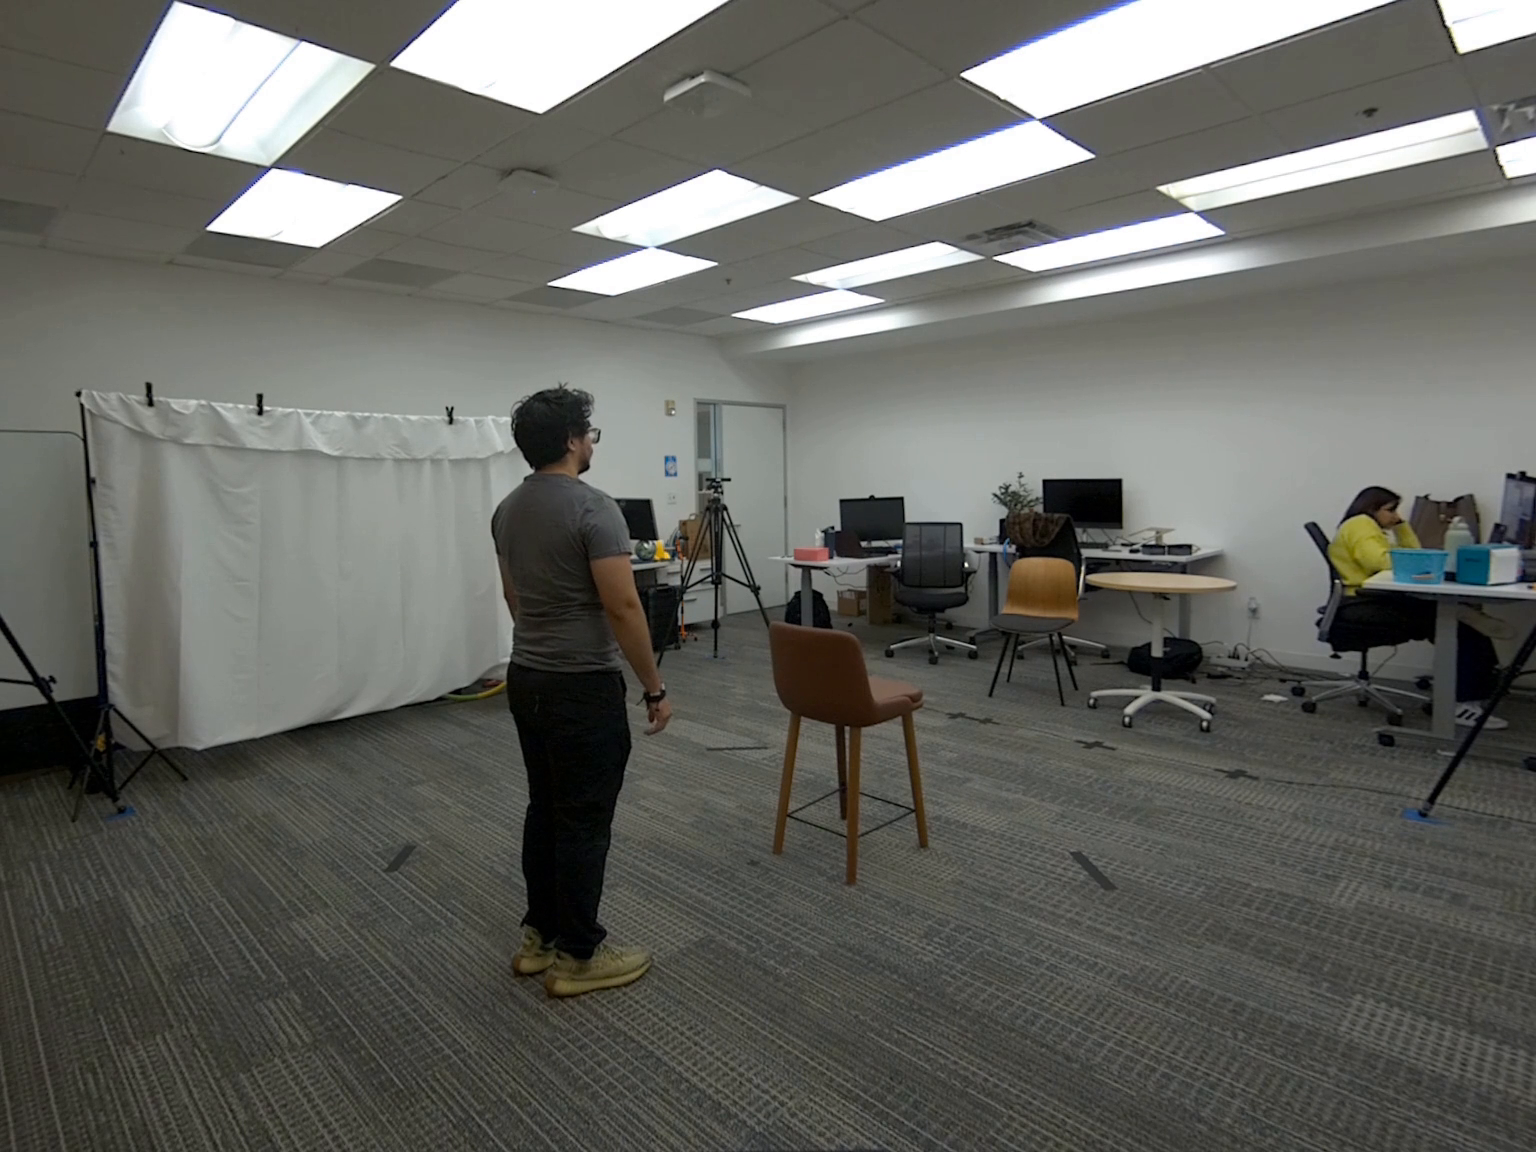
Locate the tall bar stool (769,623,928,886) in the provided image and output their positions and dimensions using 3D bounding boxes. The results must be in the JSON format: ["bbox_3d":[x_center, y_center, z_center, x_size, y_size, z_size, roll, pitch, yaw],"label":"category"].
[{"bbox_3d":[0.296,0.593,3.180,0.456,0.885,0.470,-7,7,-44],"label":"tall bar stool"}]
